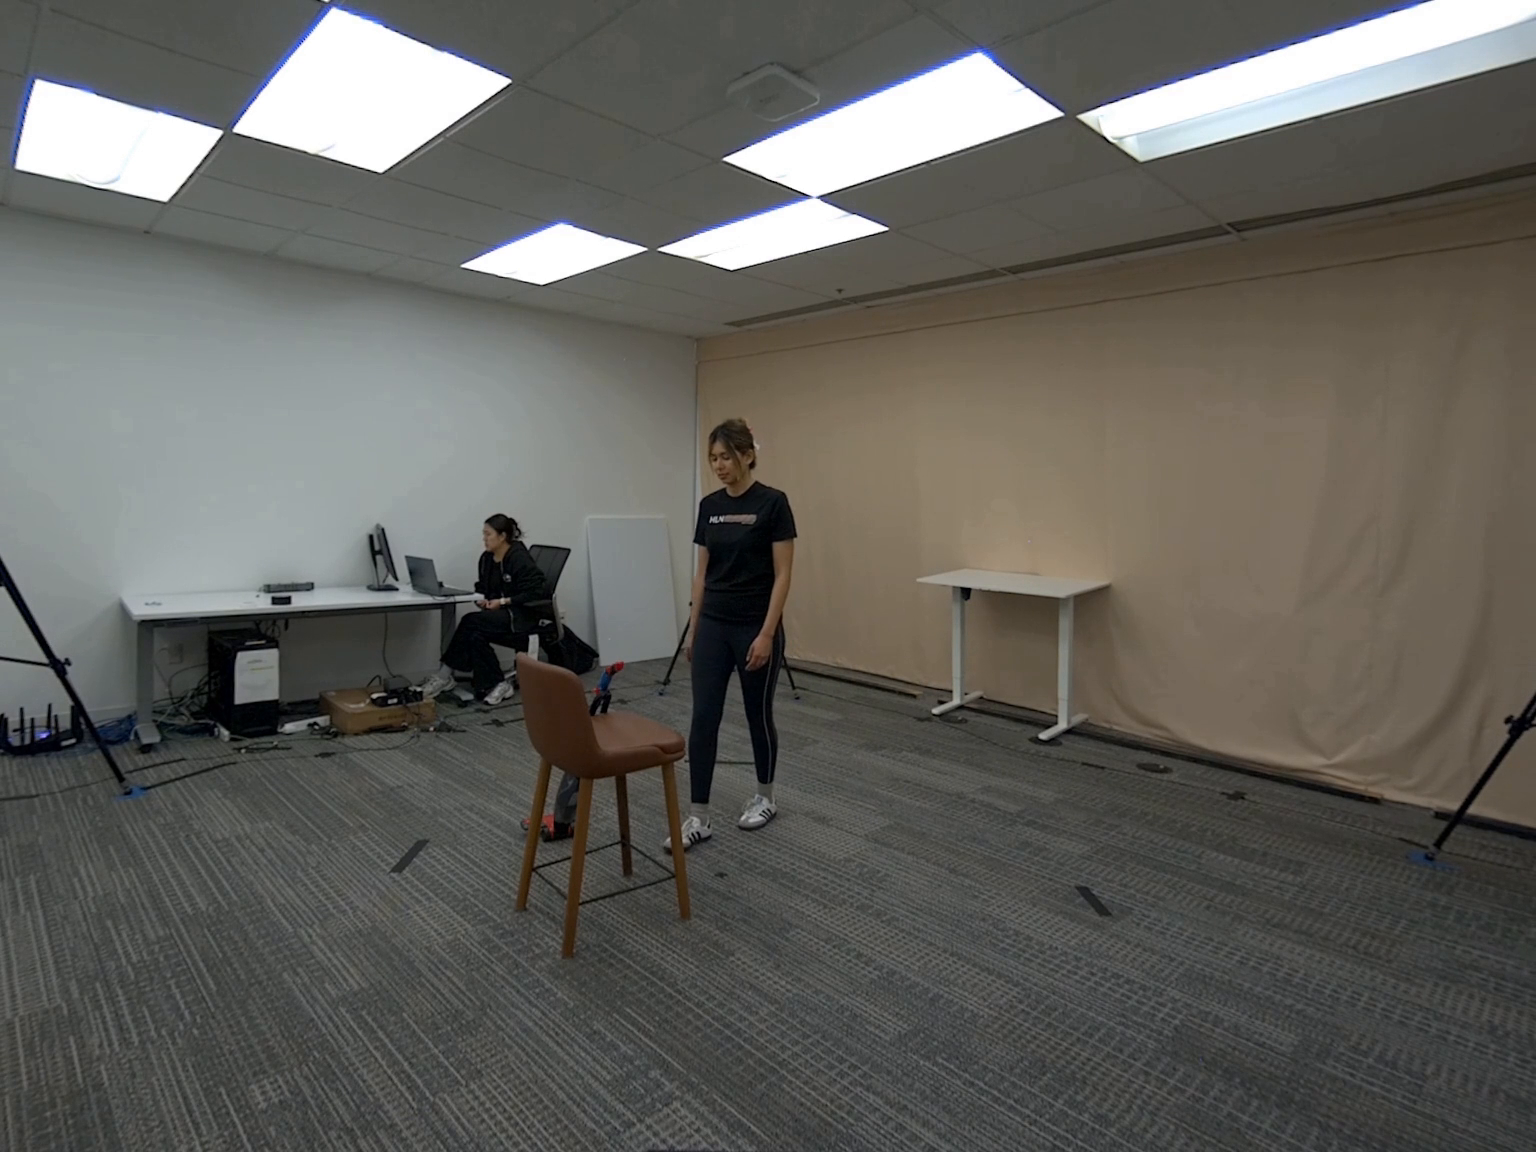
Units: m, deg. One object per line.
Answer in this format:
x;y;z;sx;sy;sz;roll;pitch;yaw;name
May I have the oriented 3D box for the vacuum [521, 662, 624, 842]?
-0.700;0.670;3.144;0.247;1.040;0.148;-6;48;-37;vacuum
